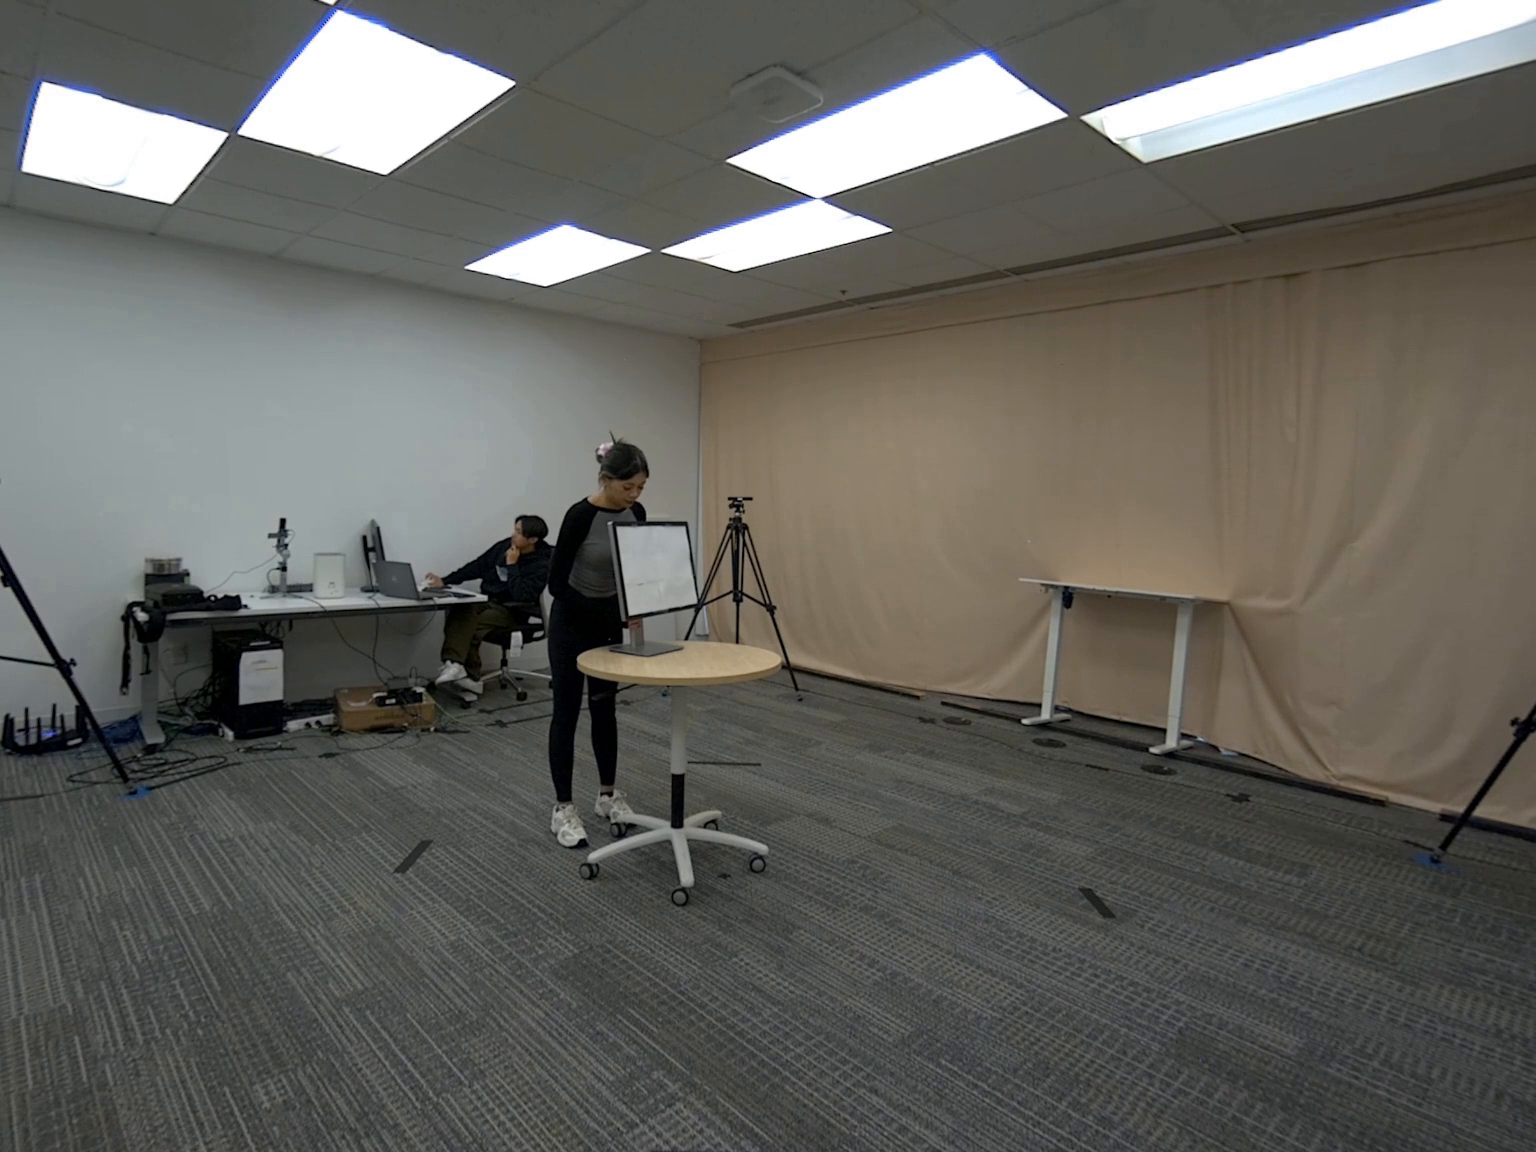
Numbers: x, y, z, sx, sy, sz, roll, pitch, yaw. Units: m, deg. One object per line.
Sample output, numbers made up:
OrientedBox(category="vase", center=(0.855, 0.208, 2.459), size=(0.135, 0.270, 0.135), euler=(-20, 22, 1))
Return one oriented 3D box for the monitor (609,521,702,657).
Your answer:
OrientedBox(category="monitor", center=(-0.481, 0.050, 3.308), size=(0.191, 0.521, 0.530), euler=(4, 5, 24))
